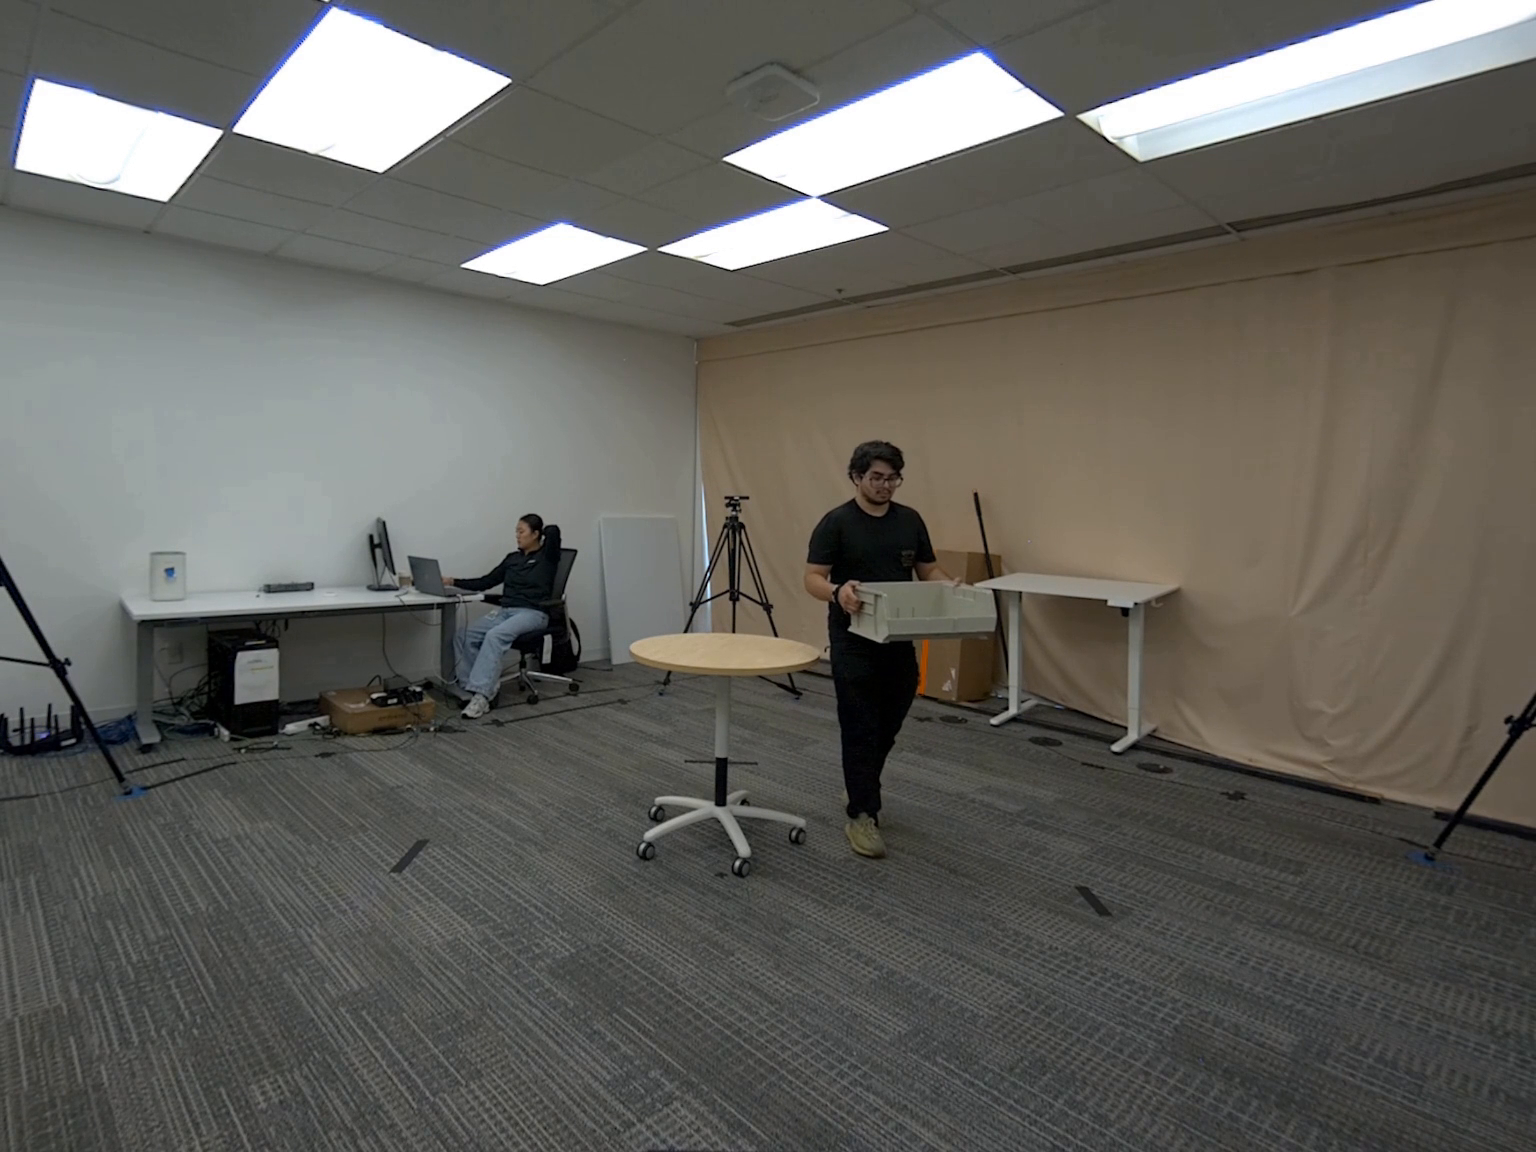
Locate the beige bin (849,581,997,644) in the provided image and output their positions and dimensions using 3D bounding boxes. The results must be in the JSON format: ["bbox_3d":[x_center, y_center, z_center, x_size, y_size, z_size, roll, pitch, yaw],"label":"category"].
[{"bbox_3d":[0.548,0.134,3.088,0.417,0.188,0.383,-2,5,-15],"label":"beige bin"}]
